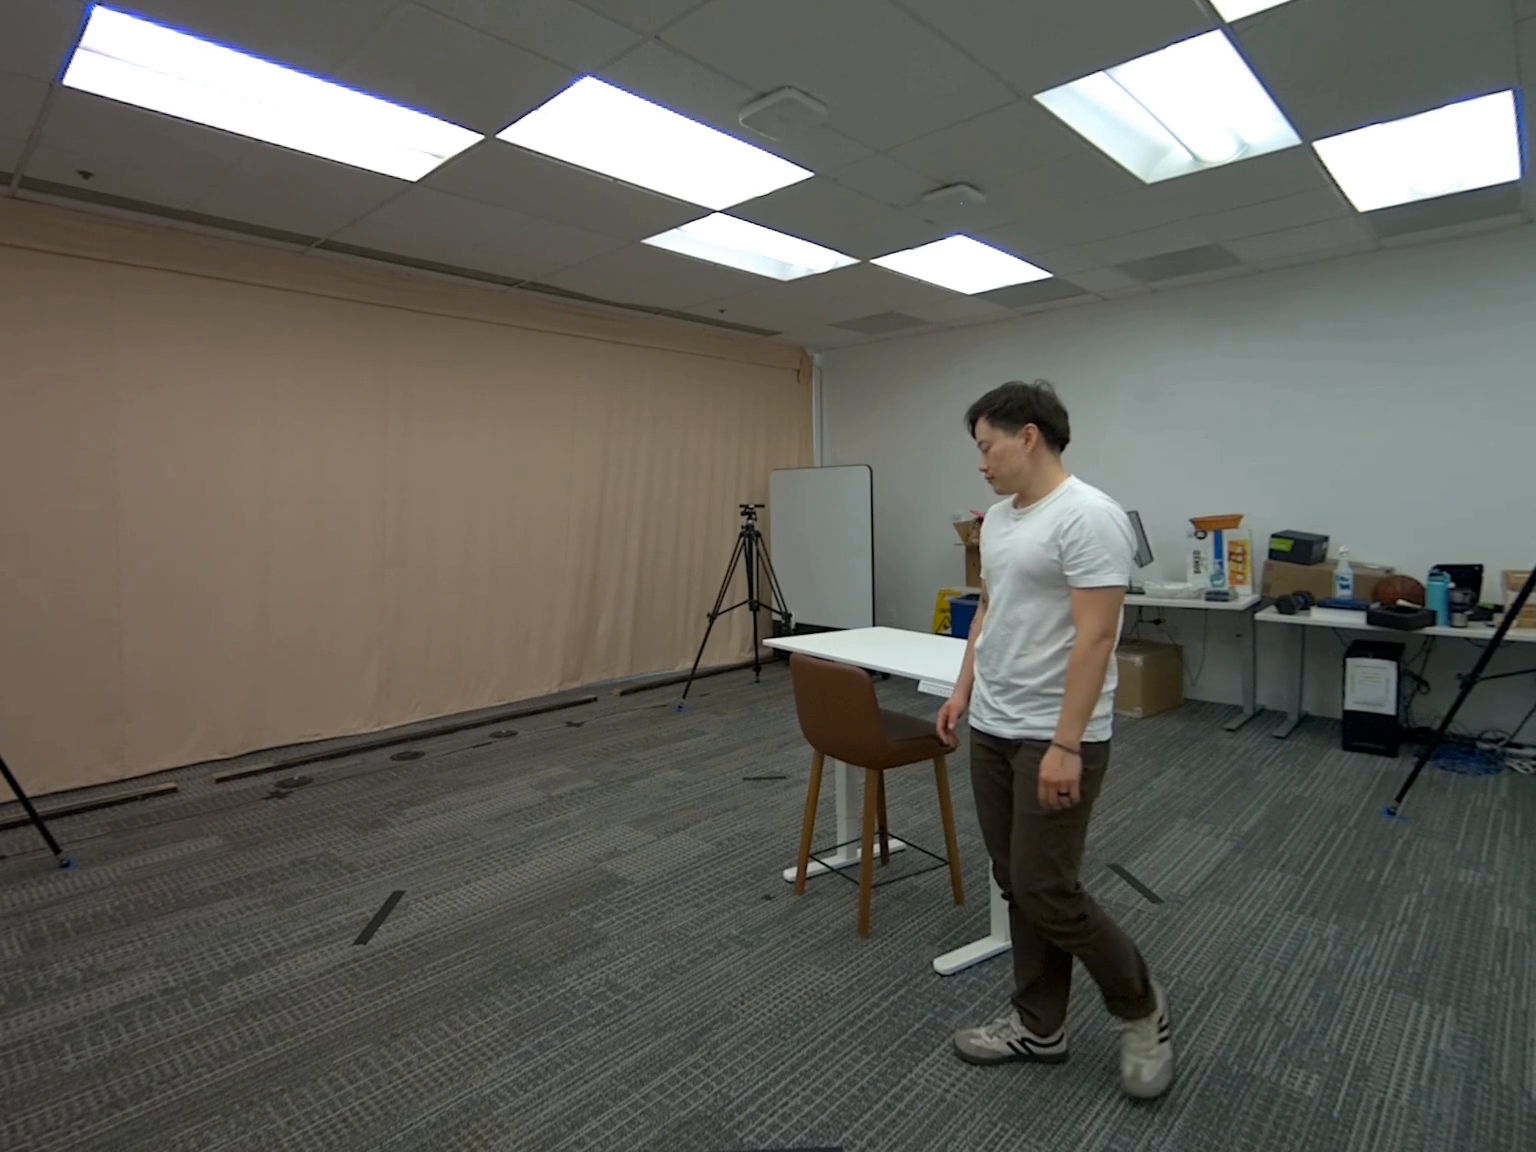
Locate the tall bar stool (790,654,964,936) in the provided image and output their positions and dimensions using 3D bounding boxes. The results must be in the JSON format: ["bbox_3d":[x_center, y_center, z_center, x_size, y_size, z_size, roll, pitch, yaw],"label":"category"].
[{"bbox_3d":[0.372,0.705,2.938,0.455,0.887,0.470,-5,5,-32],"label":"tall bar stool"}]
